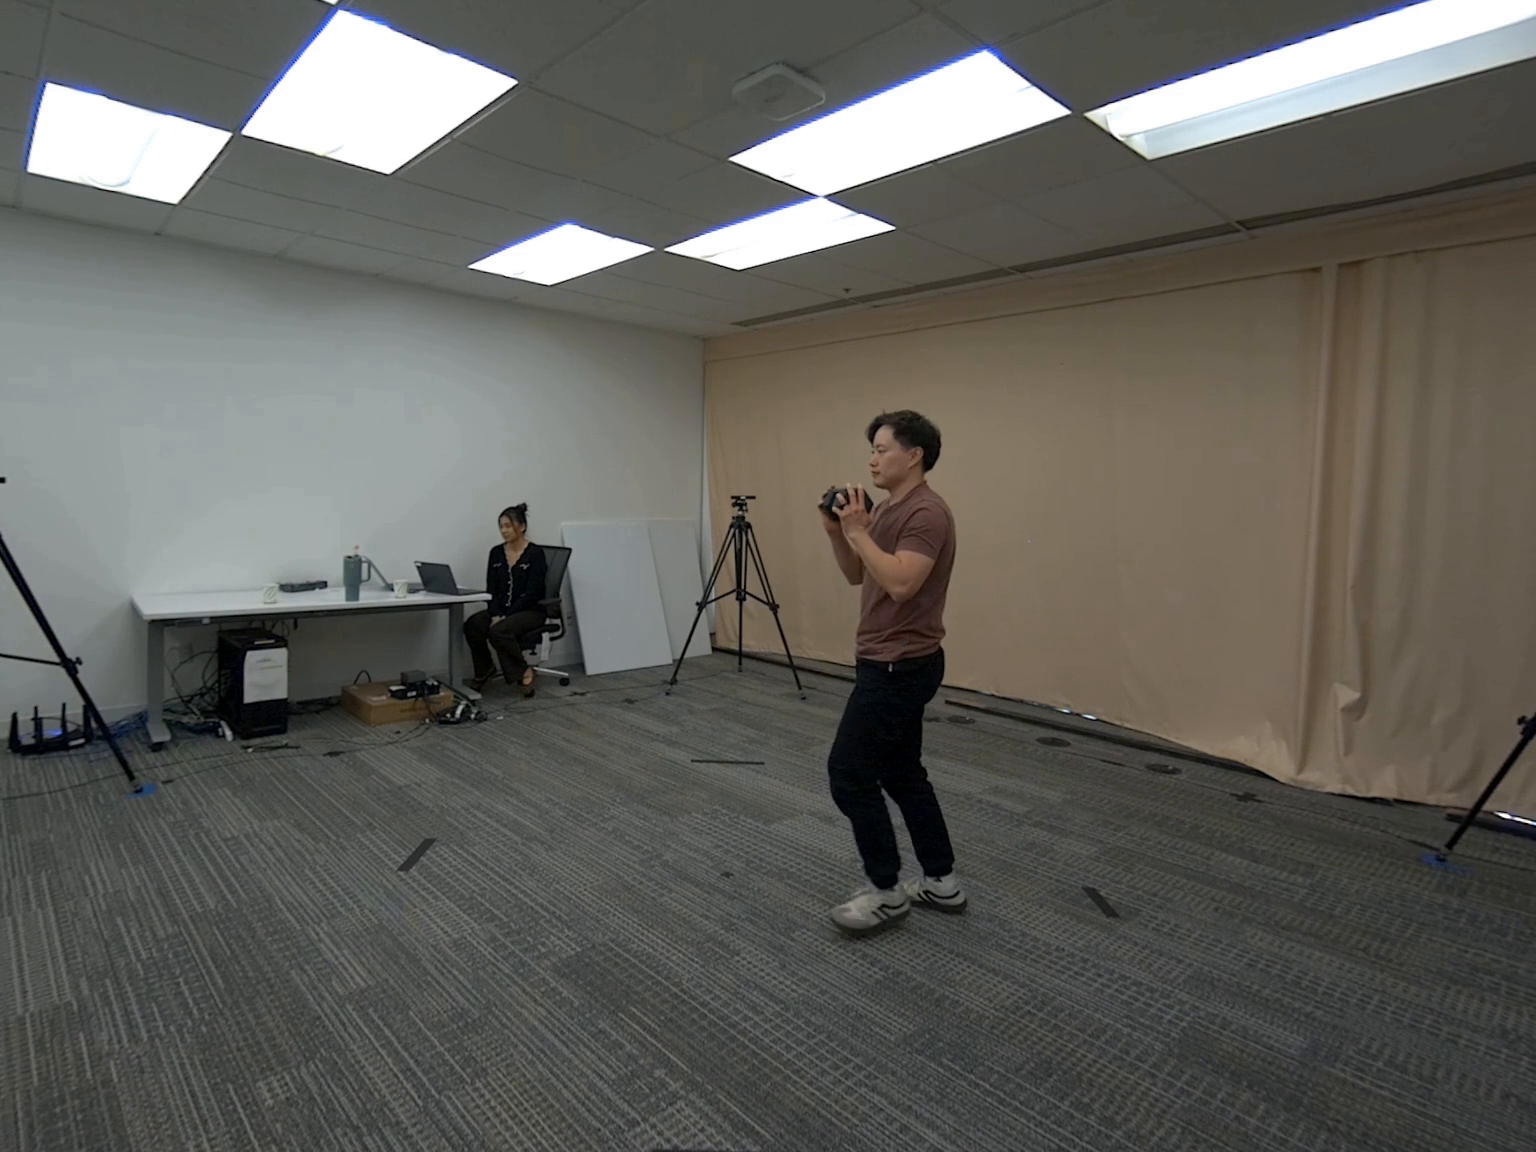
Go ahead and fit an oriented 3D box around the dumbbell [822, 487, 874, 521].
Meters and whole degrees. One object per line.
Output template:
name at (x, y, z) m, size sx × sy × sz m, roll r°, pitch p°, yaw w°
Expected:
dumbbell at (0.280, -0.221, 2.784) m, size 0.123 × 0.108 × 0.294 m, roll 5°, pitch 8°, yaw 1°
